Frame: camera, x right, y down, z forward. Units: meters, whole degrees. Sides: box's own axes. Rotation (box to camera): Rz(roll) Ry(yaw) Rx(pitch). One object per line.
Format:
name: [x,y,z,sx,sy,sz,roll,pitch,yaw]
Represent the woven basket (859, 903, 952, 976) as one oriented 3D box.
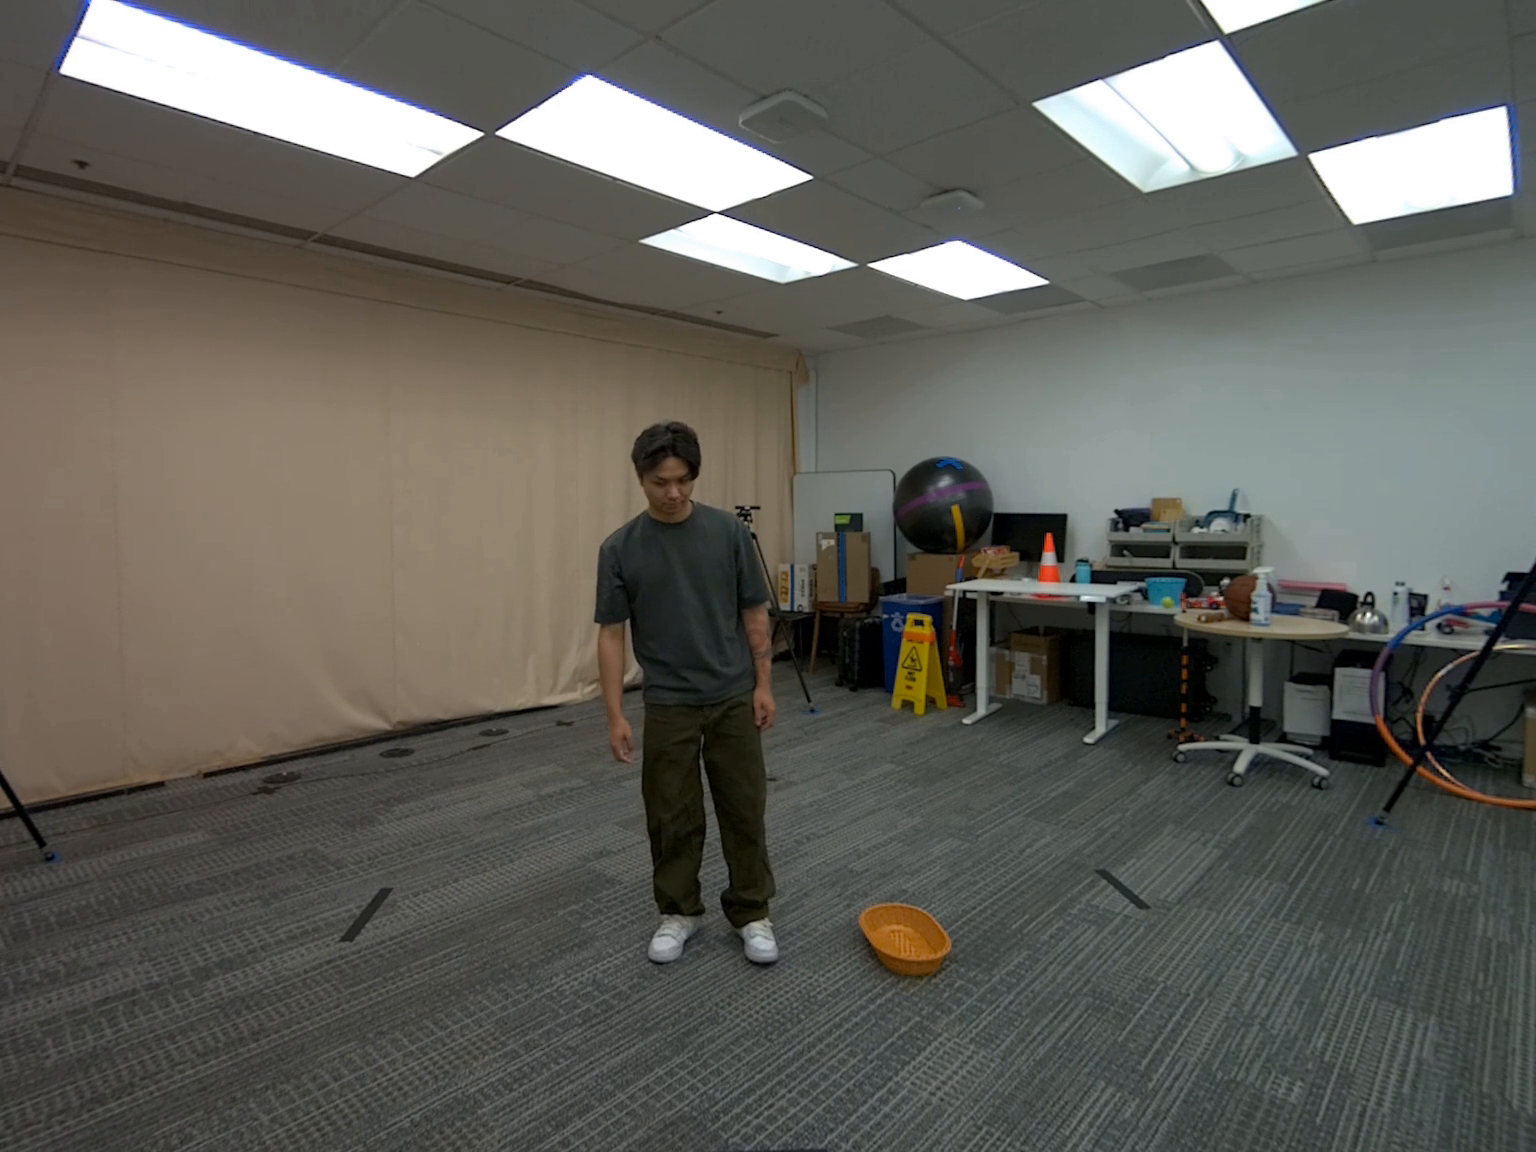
woven basket: [0.426,1.140,2.623,0.251,0.073,0.354,-1,5,-7]
